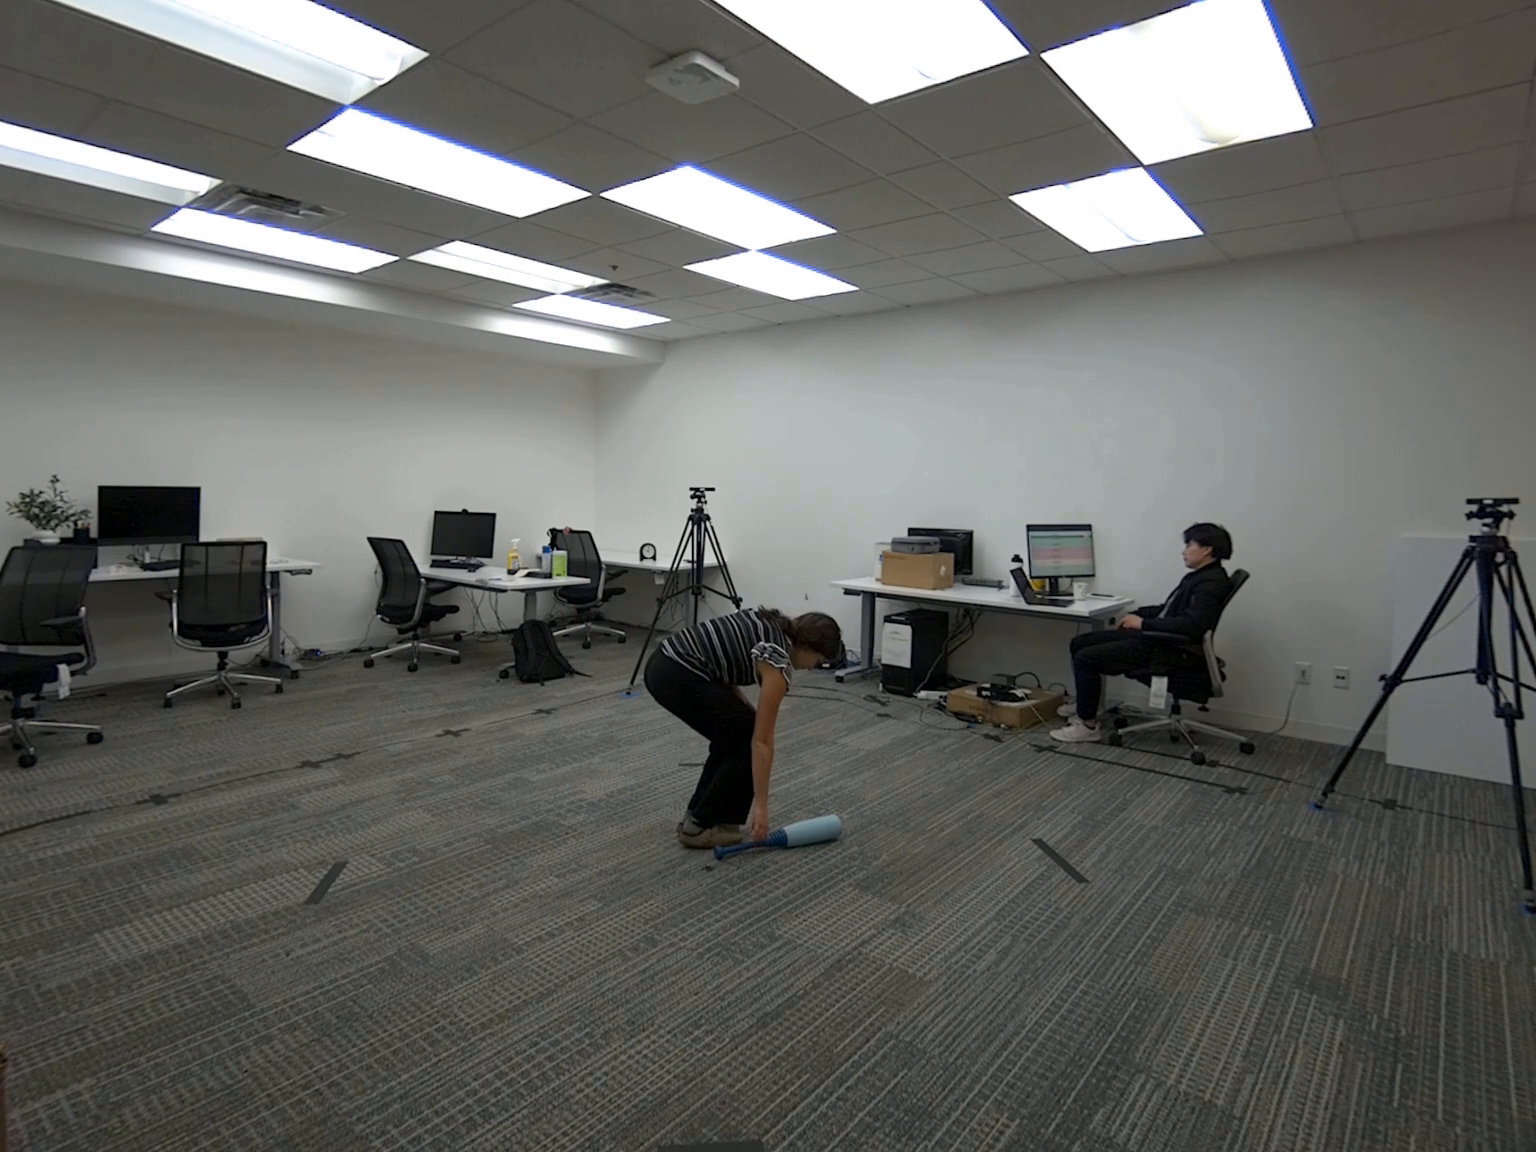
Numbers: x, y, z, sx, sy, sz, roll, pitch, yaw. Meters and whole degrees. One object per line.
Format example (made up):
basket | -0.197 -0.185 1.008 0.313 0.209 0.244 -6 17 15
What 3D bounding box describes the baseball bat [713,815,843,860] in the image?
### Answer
baseball bat | 0.035 1.018 3.305 0.531 0.088 0.091 -5 6 -24
